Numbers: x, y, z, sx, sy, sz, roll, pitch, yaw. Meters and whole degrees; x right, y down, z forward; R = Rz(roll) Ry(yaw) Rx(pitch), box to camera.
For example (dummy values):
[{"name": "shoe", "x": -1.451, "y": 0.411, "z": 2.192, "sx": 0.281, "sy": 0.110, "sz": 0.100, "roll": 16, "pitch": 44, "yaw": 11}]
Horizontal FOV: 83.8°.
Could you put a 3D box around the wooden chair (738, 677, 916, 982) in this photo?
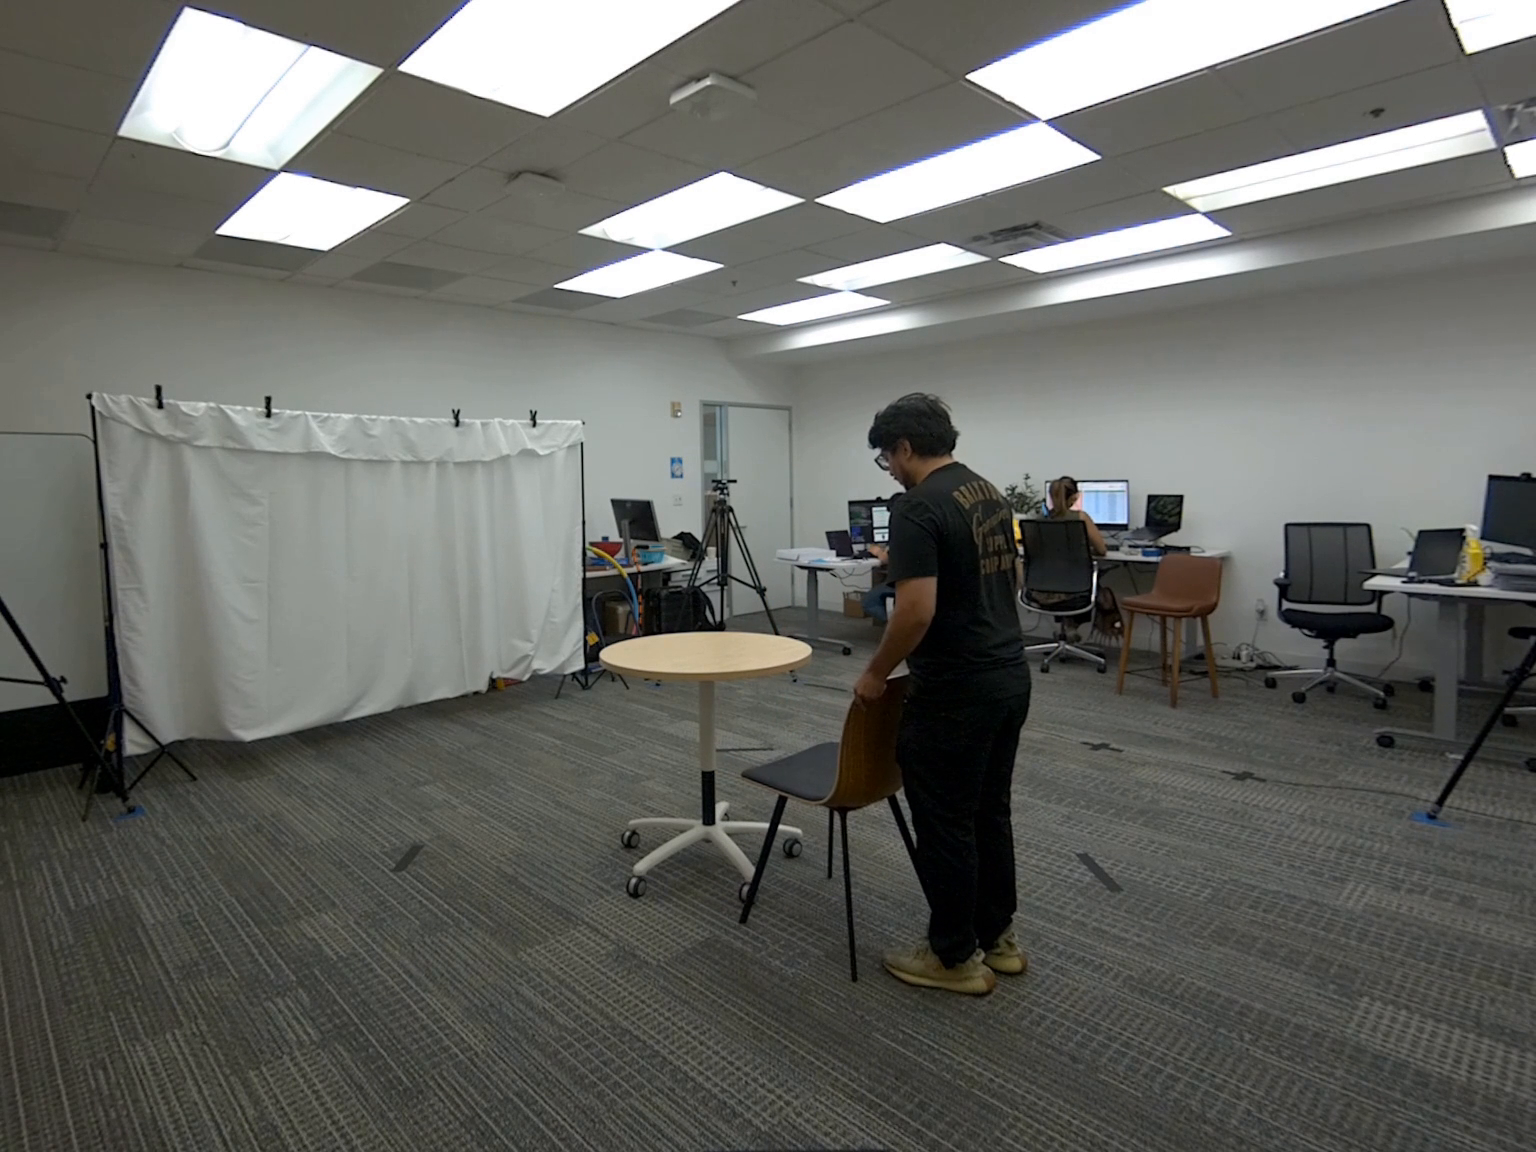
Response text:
[{"name": "wooden chair", "x": 0.217, "y": 0.667, "z": 2.656, "sx": 0.541, "sy": 0.871, "sz": 0.465, "roll": 10, "pitch": 11, "yaw": 44}]
